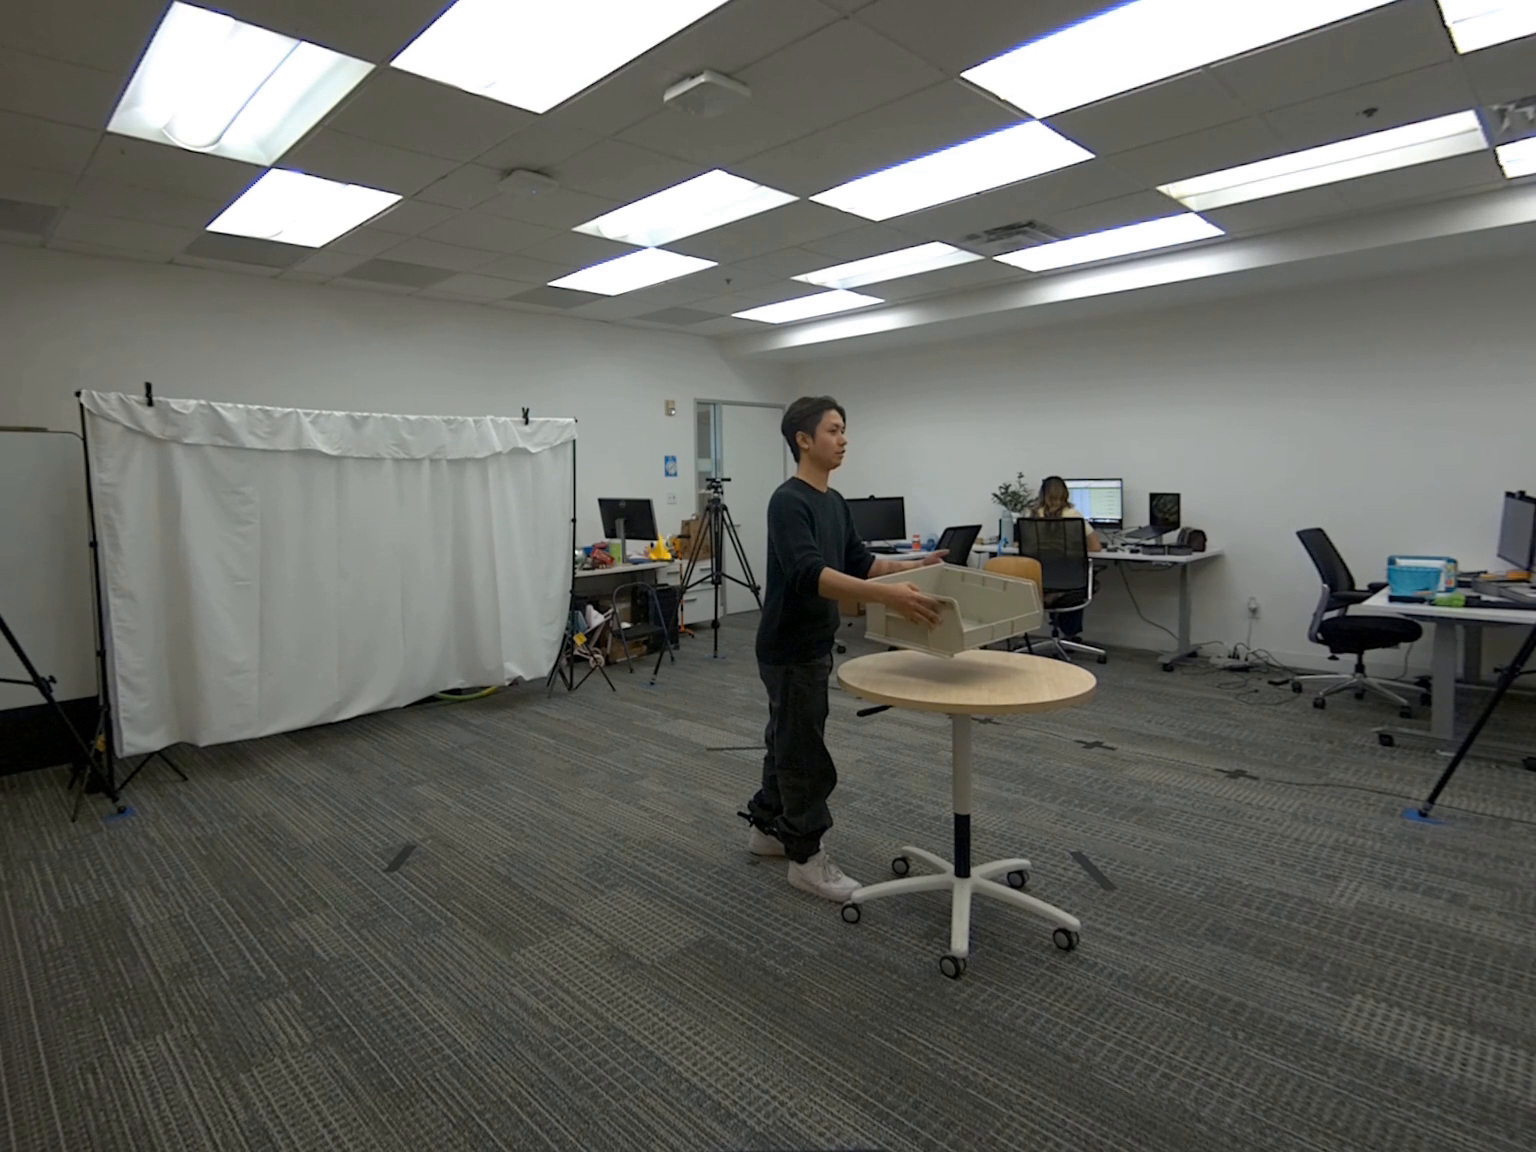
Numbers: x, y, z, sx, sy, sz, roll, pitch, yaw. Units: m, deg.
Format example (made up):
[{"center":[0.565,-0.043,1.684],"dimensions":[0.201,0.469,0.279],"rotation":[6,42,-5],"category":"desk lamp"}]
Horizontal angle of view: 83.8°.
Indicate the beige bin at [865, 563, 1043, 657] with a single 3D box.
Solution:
[{"center":[0.577,0.106,2.662],"dimensions":[0.412,0.187,0.390],"rotation":[-10,13,-39],"category":"beige bin"}]
